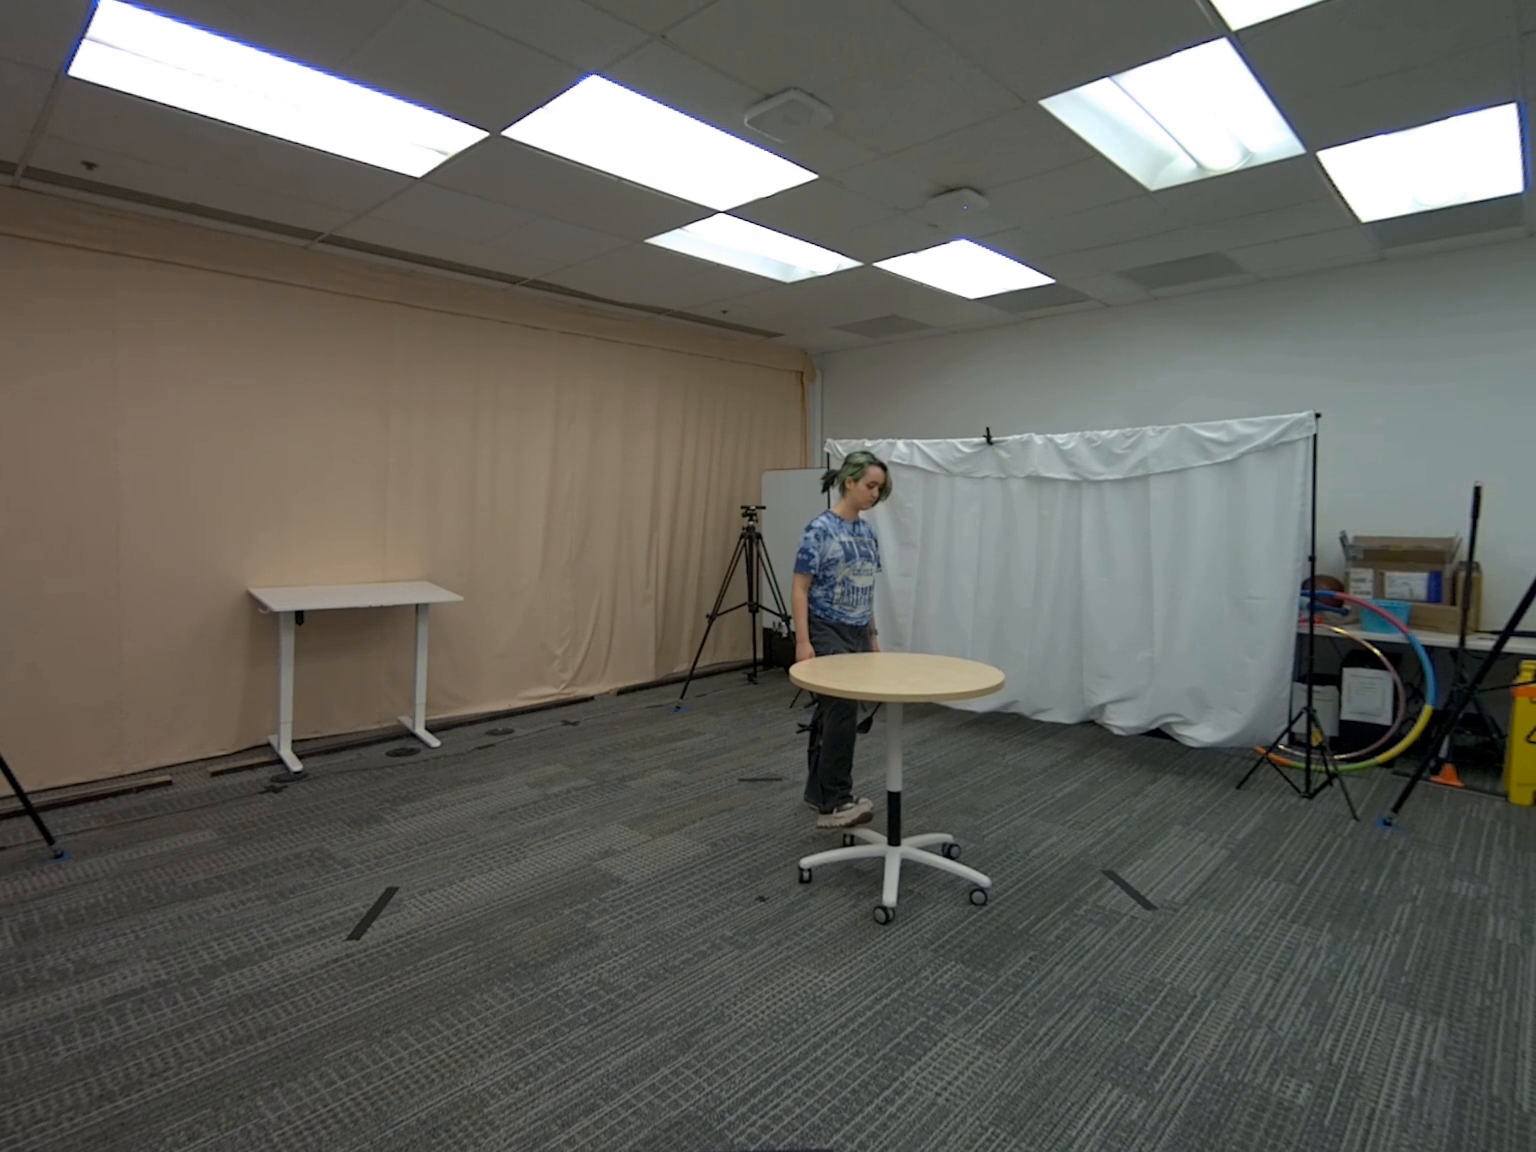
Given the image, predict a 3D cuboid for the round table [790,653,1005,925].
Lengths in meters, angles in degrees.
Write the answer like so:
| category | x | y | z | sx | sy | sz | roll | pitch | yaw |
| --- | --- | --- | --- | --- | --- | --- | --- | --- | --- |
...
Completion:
| category | x | y | z | sx | sy | sz | roll | pitch | yaw |
| --- | --- | --- | --- | --- | --- | --- | --- | --- | --- |
| round table | 0.463 | 0.740 | 3.102 | 0.763 | 0.792 | 0.767 | 0 | 4 | -2 |
